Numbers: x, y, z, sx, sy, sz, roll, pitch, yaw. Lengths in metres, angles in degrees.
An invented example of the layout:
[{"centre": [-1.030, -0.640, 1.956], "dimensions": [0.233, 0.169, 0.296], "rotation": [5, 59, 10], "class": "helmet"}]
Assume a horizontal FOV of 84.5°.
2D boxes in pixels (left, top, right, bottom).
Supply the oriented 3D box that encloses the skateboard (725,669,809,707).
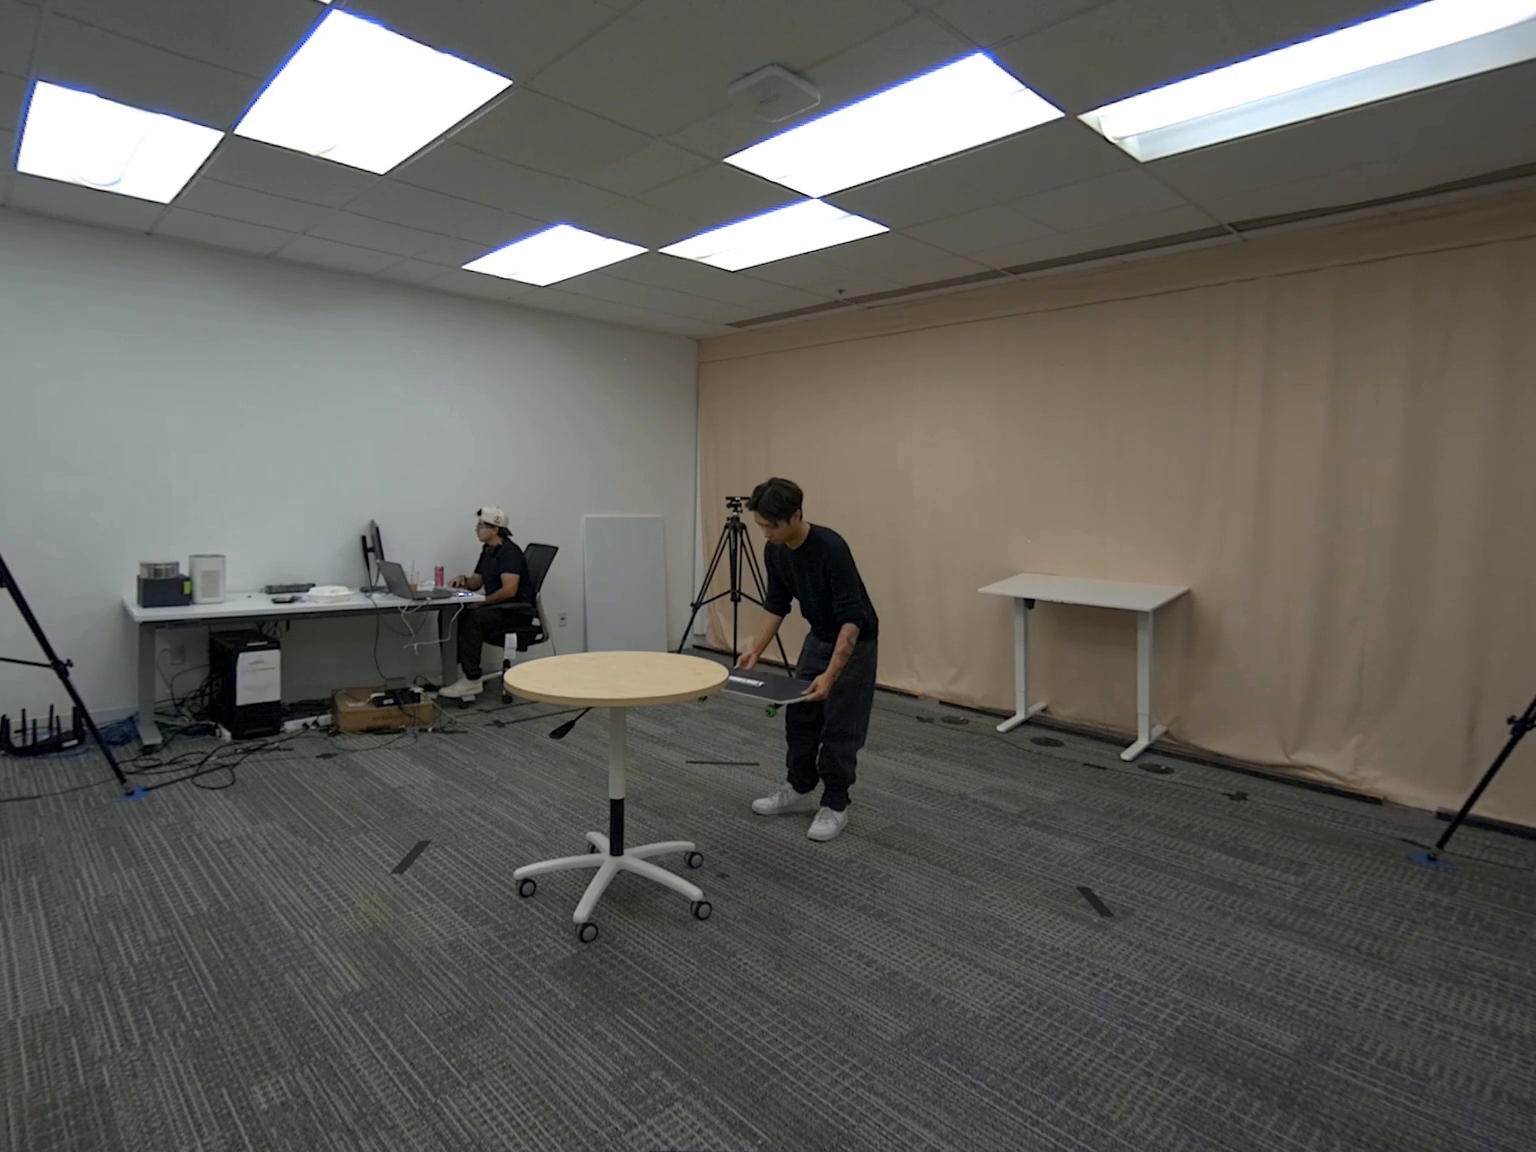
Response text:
[{"centre": [-0.108, 0.475, 3.499], "dimensions": [0.805, 0.109, 0.191], "rotation": [4, 22, 44], "class": "skateboard"}]
